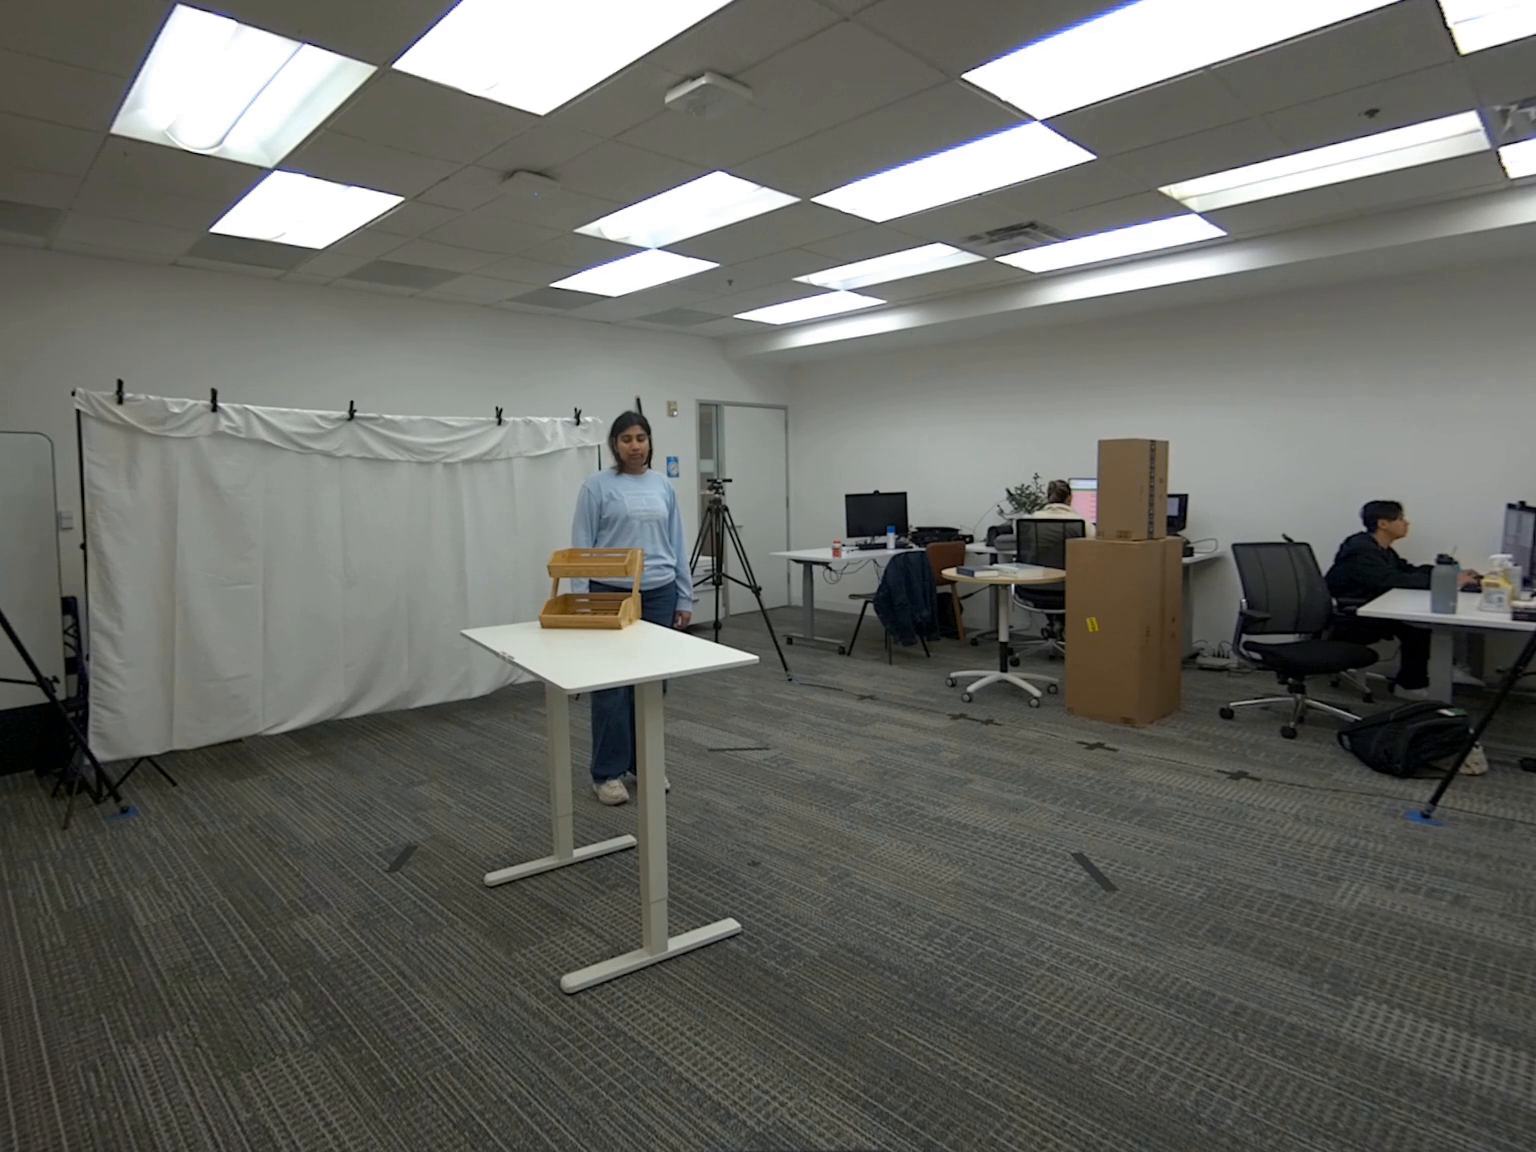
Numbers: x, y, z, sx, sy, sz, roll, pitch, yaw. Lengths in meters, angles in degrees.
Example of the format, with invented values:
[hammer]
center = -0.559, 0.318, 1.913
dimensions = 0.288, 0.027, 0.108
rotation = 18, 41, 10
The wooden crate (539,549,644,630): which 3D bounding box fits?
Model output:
[wooden crate]
center = -0.642, 0.043, 3.102
dimensions = 0.327, 0.272, 0.301
rotation = -3, 4, 6
